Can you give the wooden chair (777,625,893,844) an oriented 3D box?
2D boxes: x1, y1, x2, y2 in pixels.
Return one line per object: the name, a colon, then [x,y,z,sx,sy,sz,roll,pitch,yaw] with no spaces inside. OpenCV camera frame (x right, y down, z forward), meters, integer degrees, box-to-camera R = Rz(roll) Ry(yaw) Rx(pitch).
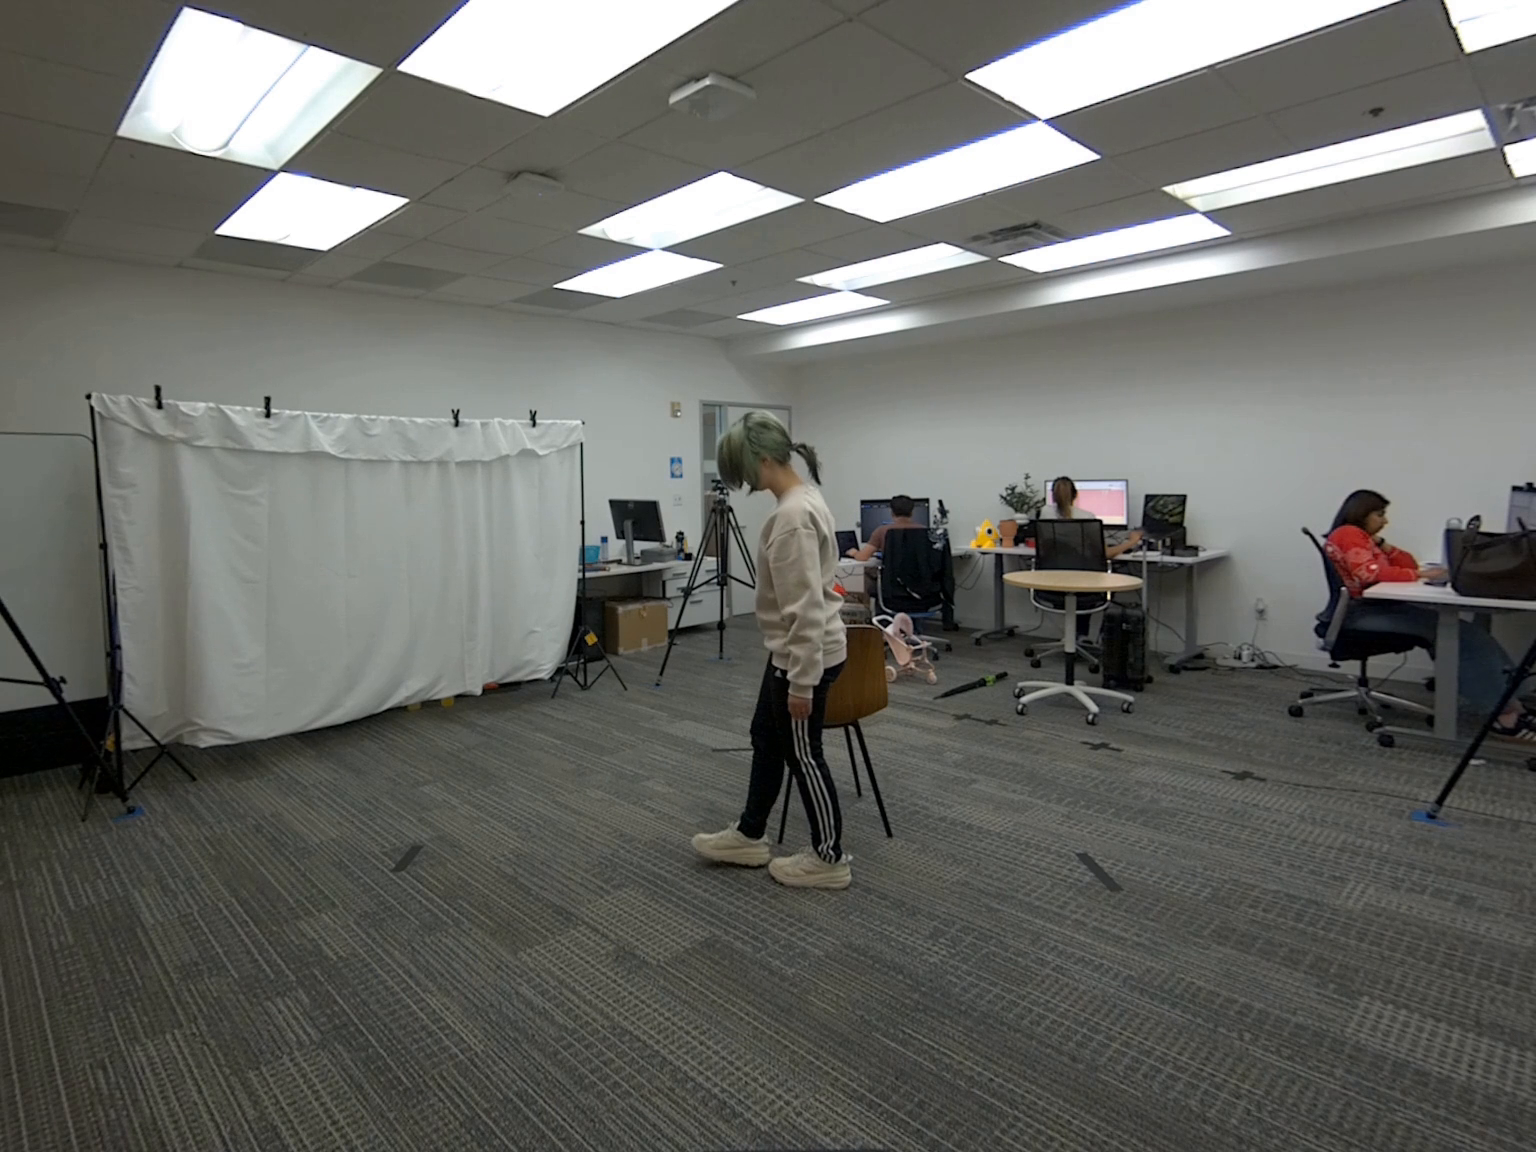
wooden chair: [0.213,0.575,3.495,0.474,0.871,0.531,-2,8,-9]
